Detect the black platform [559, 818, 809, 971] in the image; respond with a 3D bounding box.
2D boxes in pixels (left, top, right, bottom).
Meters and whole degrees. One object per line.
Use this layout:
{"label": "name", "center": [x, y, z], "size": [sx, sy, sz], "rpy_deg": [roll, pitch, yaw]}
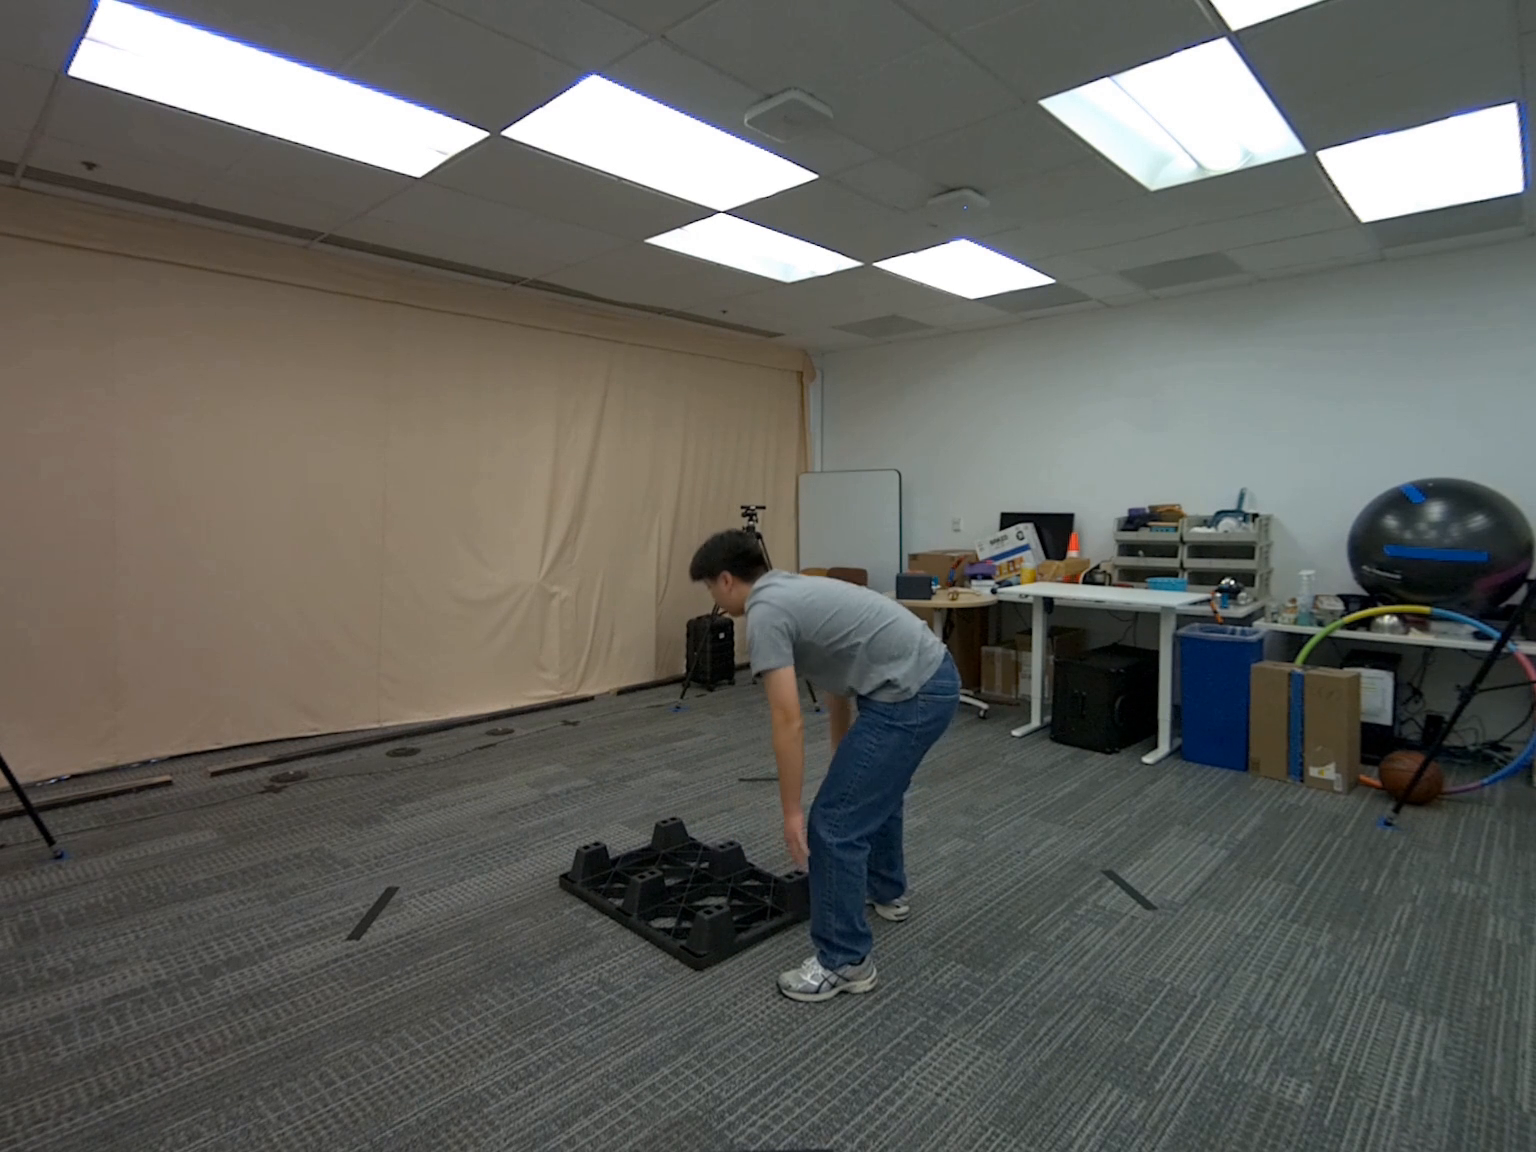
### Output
{"label": "black platform", "center": [-0.283, 1.079, 2.996], "size": [0.586, 0.143, 0.832], "rpy_deg": [-5, 6, -44]}
